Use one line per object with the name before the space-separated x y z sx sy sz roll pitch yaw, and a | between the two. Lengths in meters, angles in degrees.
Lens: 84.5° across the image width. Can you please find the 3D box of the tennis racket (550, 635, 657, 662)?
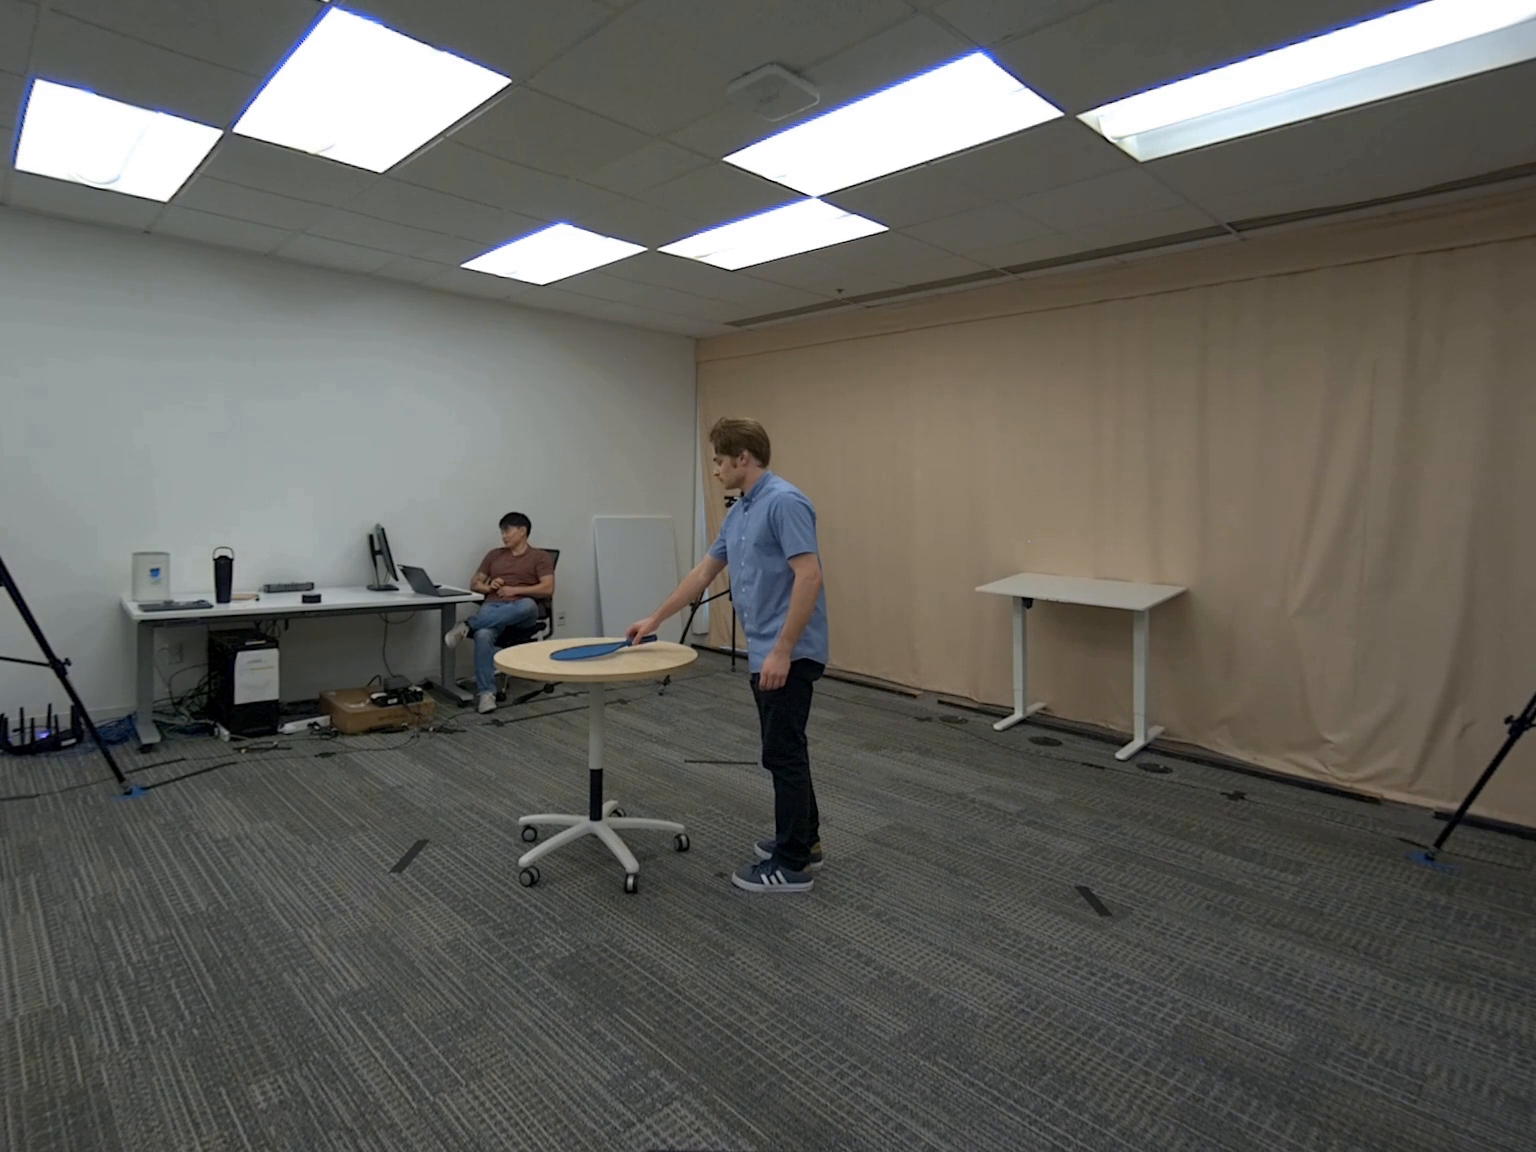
tennis racket | -0.631 0.276 3.212 0.425 0.031 0.218 -9 8 -32
